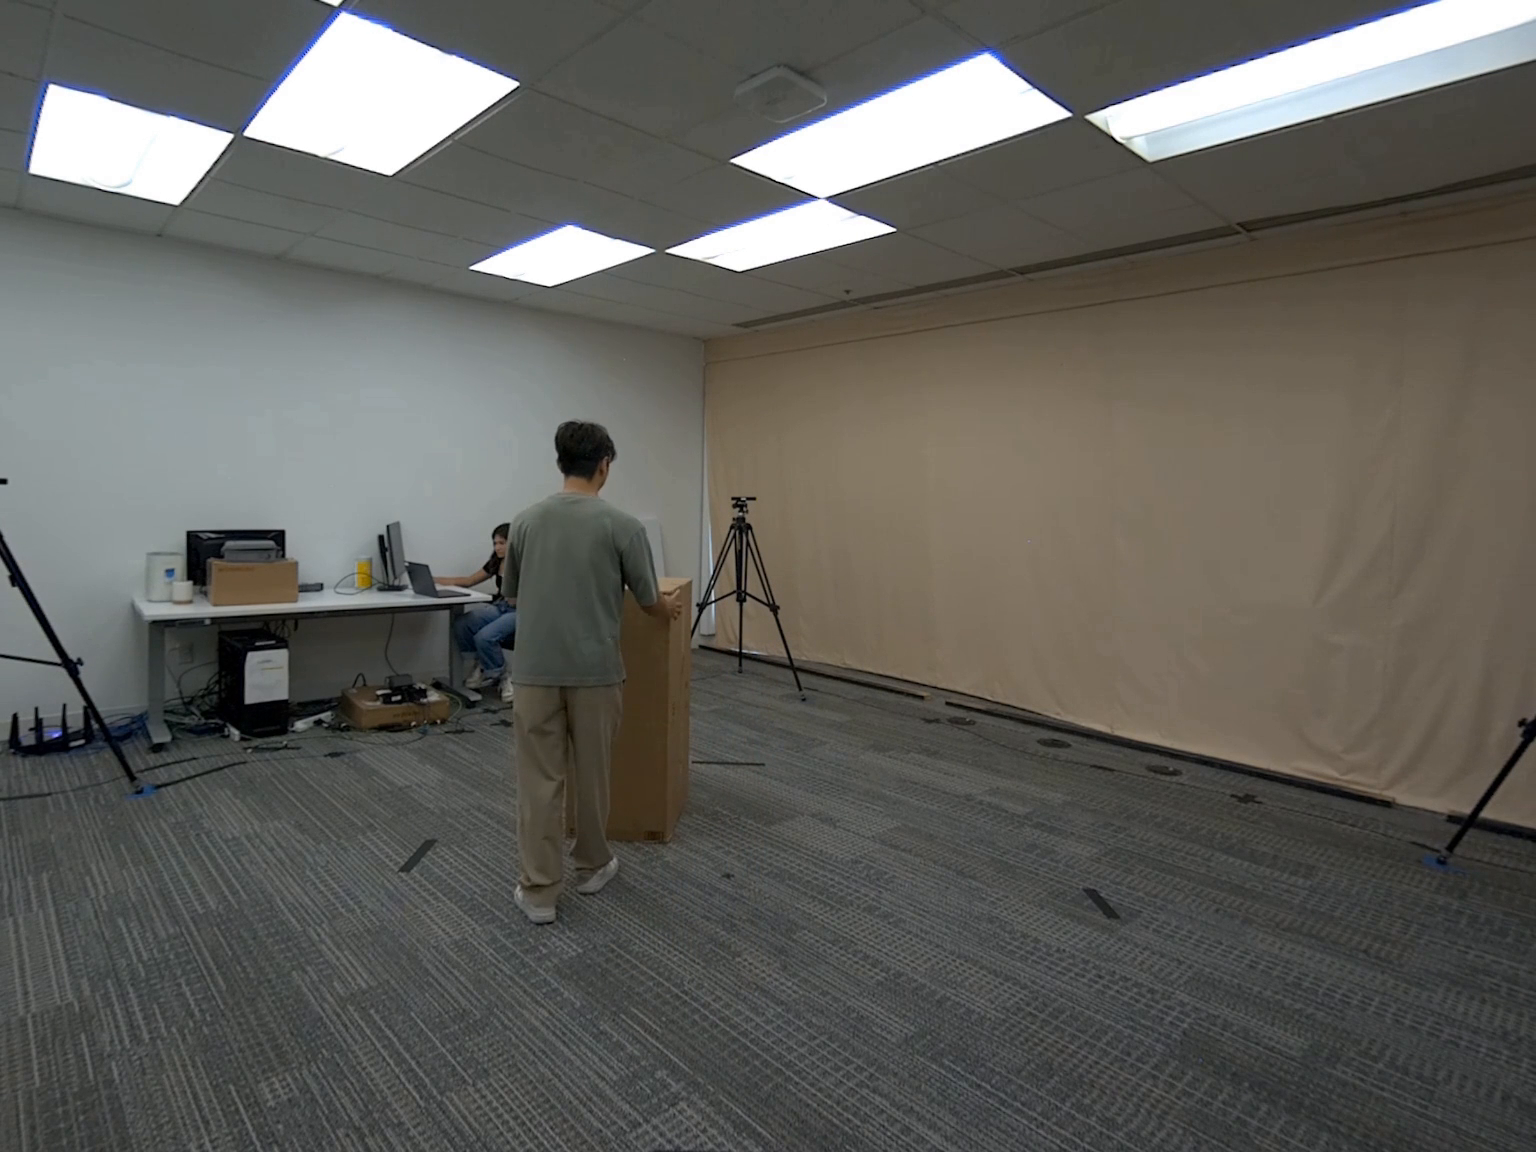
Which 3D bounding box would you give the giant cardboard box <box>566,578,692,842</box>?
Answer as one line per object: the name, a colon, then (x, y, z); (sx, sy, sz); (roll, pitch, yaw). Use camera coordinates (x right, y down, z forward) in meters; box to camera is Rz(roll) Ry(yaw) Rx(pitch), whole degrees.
giant cardboard box: (-0.592, 0.539, 3.664); (0.428, 1.023, 0.576); (2, 4, 5)
